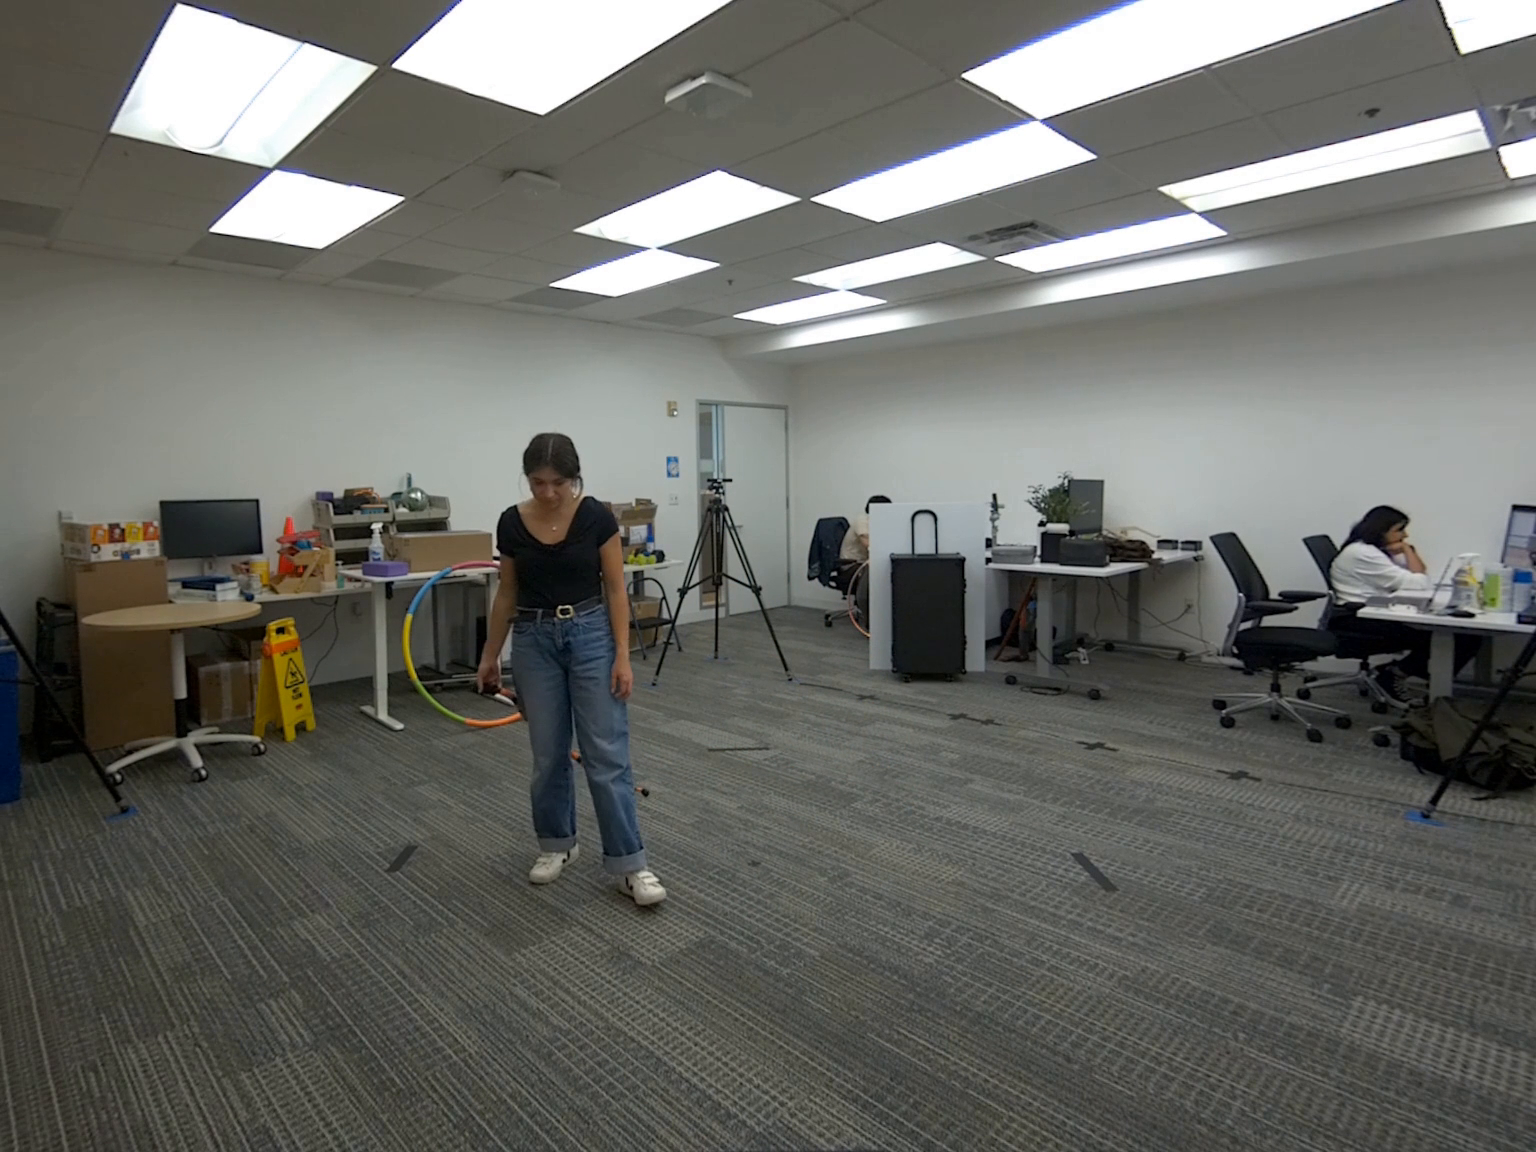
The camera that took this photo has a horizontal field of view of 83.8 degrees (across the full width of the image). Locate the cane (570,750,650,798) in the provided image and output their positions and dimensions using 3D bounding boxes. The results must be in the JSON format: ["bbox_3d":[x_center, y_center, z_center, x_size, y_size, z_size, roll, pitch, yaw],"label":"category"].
[{"bbox_3d":[-0.791,0.675,3.300,0.212,0.153,0.874,-1,-39,34],"label":"cane"}]
